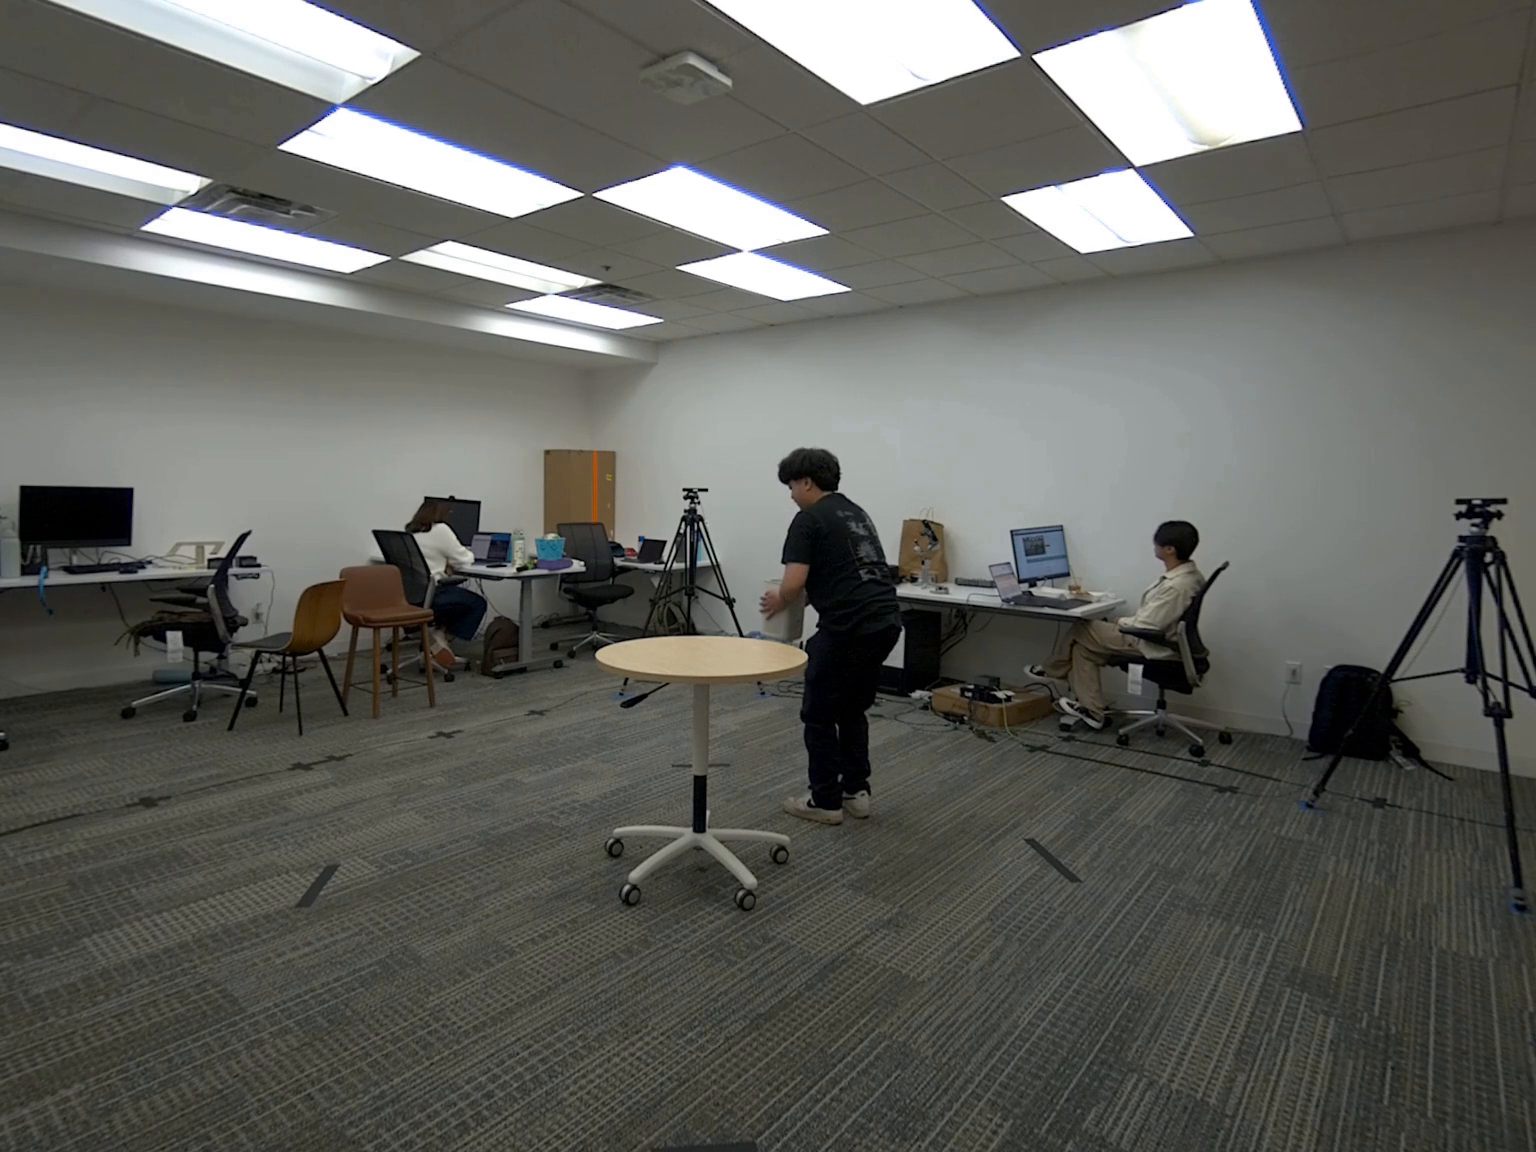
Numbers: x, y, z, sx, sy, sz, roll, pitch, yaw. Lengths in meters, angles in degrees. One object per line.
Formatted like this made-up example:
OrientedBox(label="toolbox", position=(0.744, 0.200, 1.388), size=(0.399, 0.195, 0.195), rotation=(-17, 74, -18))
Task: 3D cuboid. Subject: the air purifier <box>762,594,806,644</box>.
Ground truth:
OrientedBox(label="air purifier", position=(0.068, 0.165, 3.925), size=(0.177, 0.264, 0.166), rotation=(8, 4, 36))
